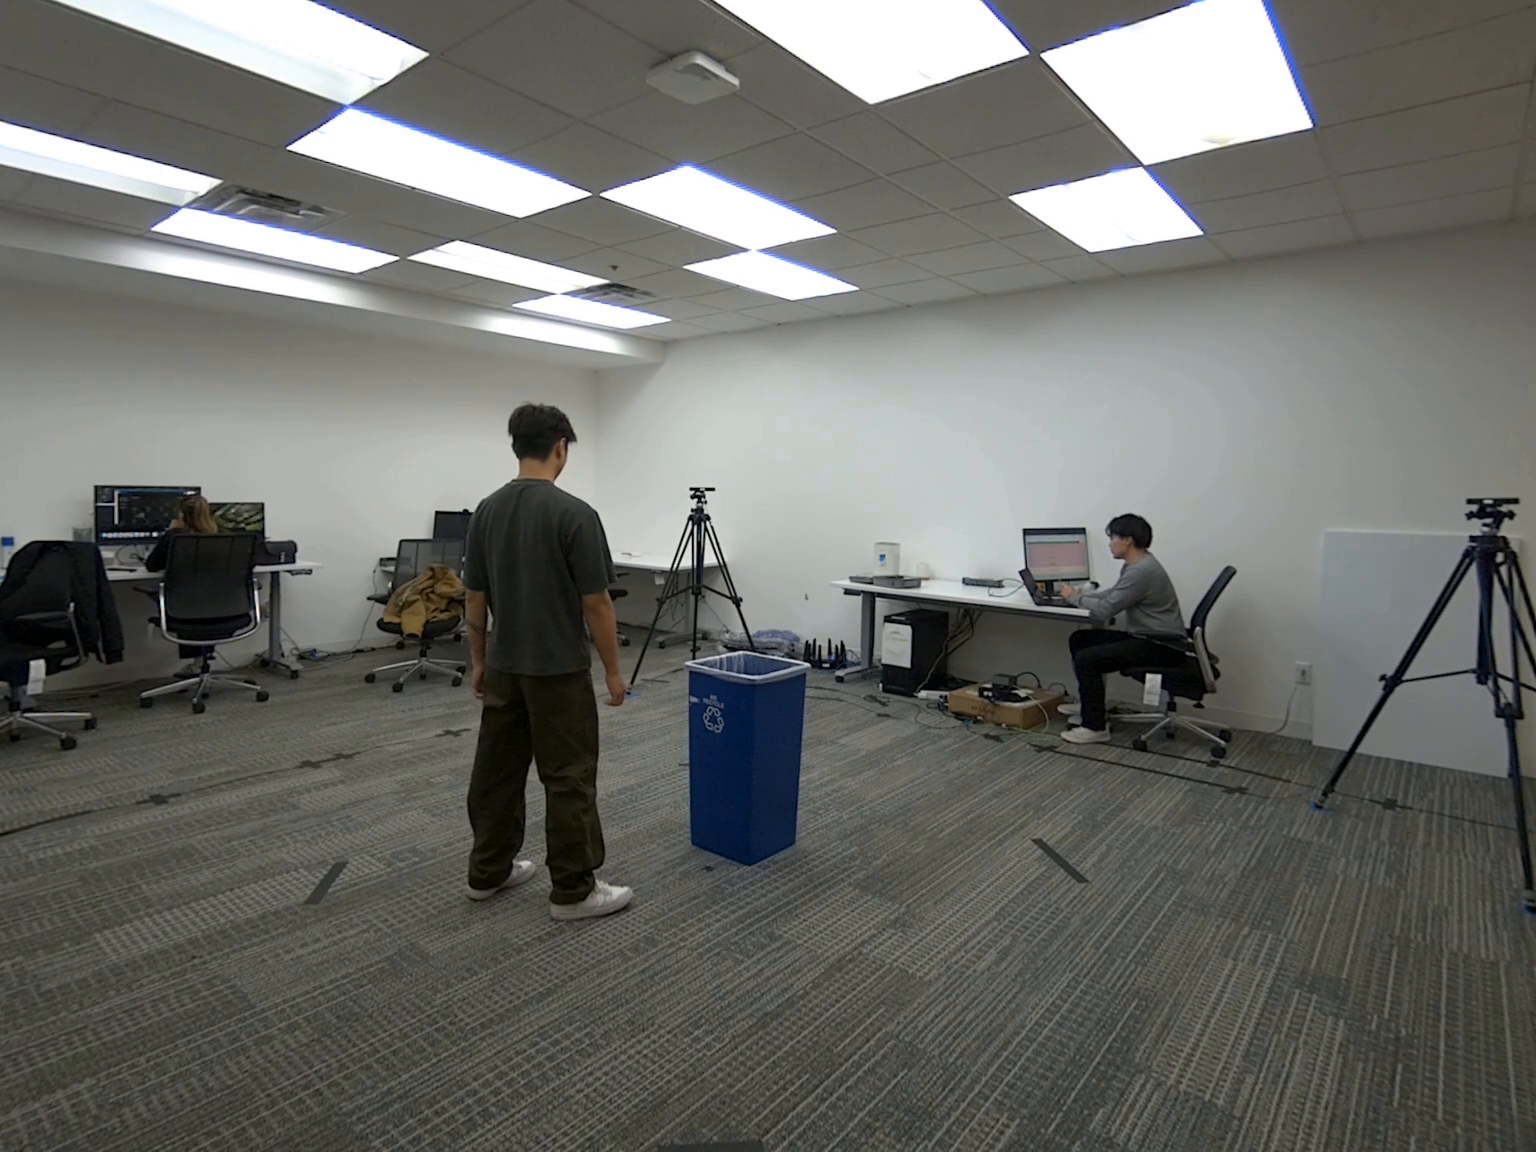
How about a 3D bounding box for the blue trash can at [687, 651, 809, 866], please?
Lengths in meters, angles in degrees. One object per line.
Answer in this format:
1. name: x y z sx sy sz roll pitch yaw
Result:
1. blue trash can: -0.097 0.689 3.326 0.391 0.711 0.363 4 5 39
